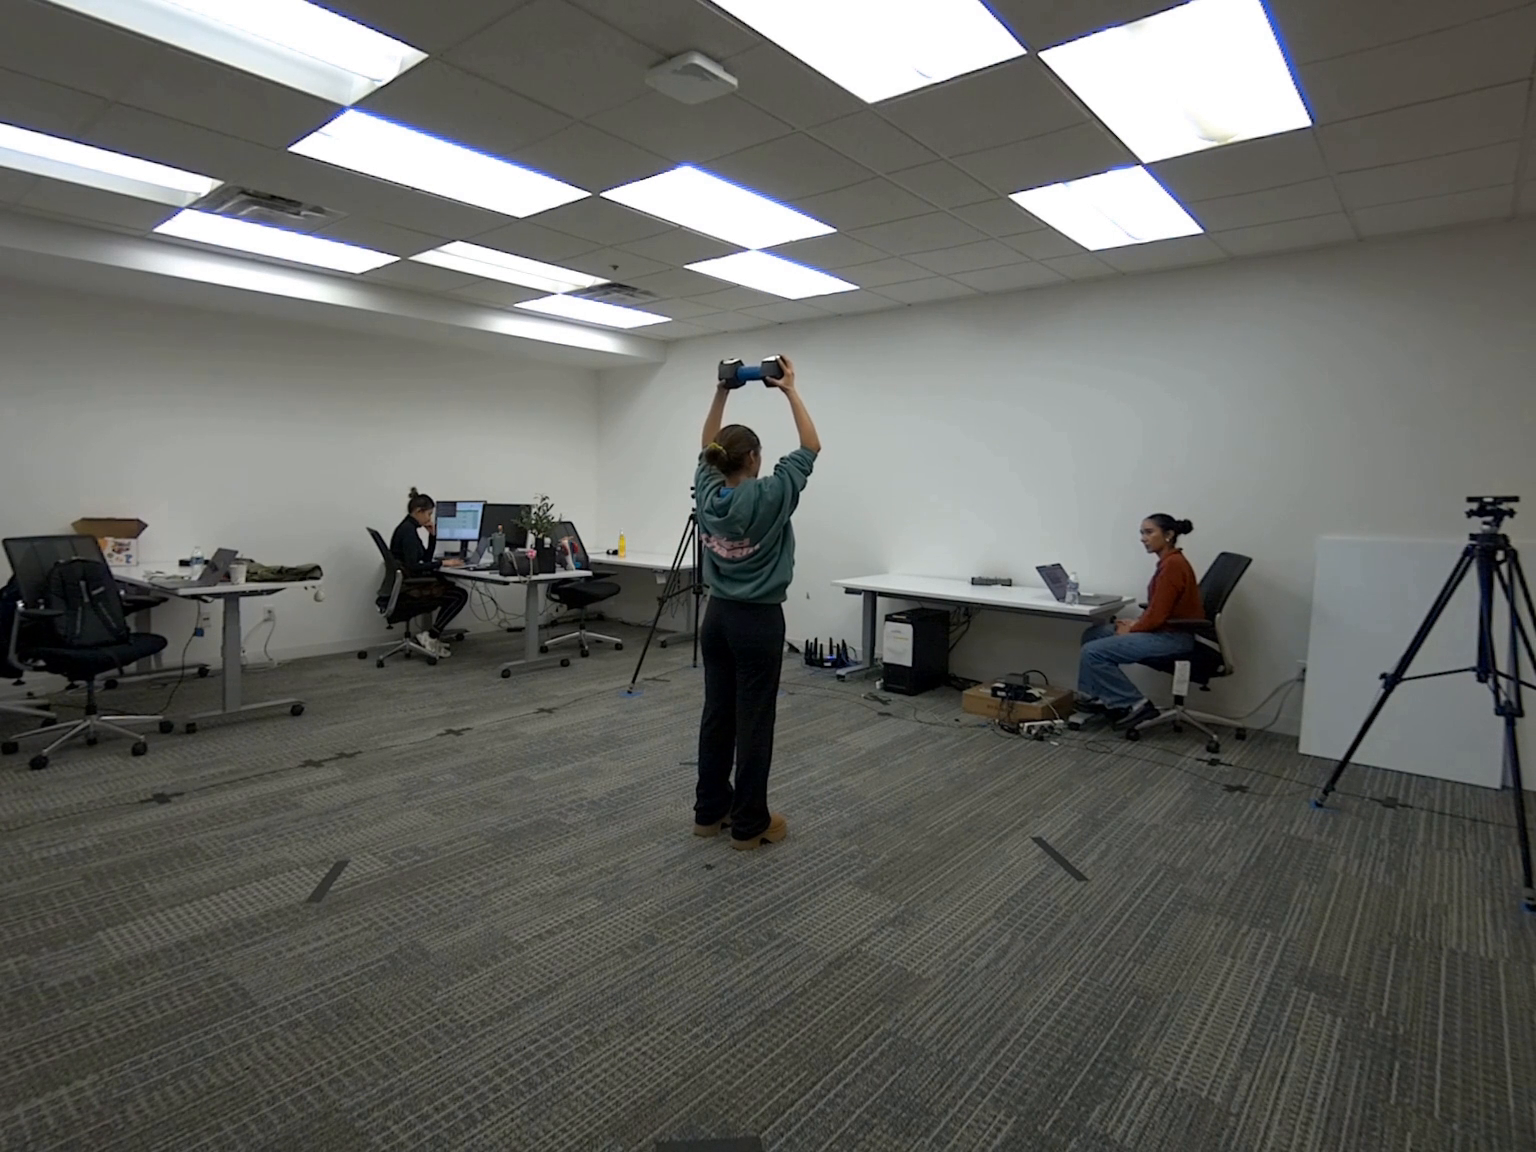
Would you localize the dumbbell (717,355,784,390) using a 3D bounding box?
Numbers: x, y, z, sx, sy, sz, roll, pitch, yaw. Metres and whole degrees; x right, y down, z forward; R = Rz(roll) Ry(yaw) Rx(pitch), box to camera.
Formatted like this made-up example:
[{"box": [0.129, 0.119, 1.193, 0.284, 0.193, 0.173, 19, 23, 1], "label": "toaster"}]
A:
[{"box": [-0.074, -0.810, 3.373, 0.304, 0.123, 0.105, 8, -1, 38], "label": "dumbbell"}]
